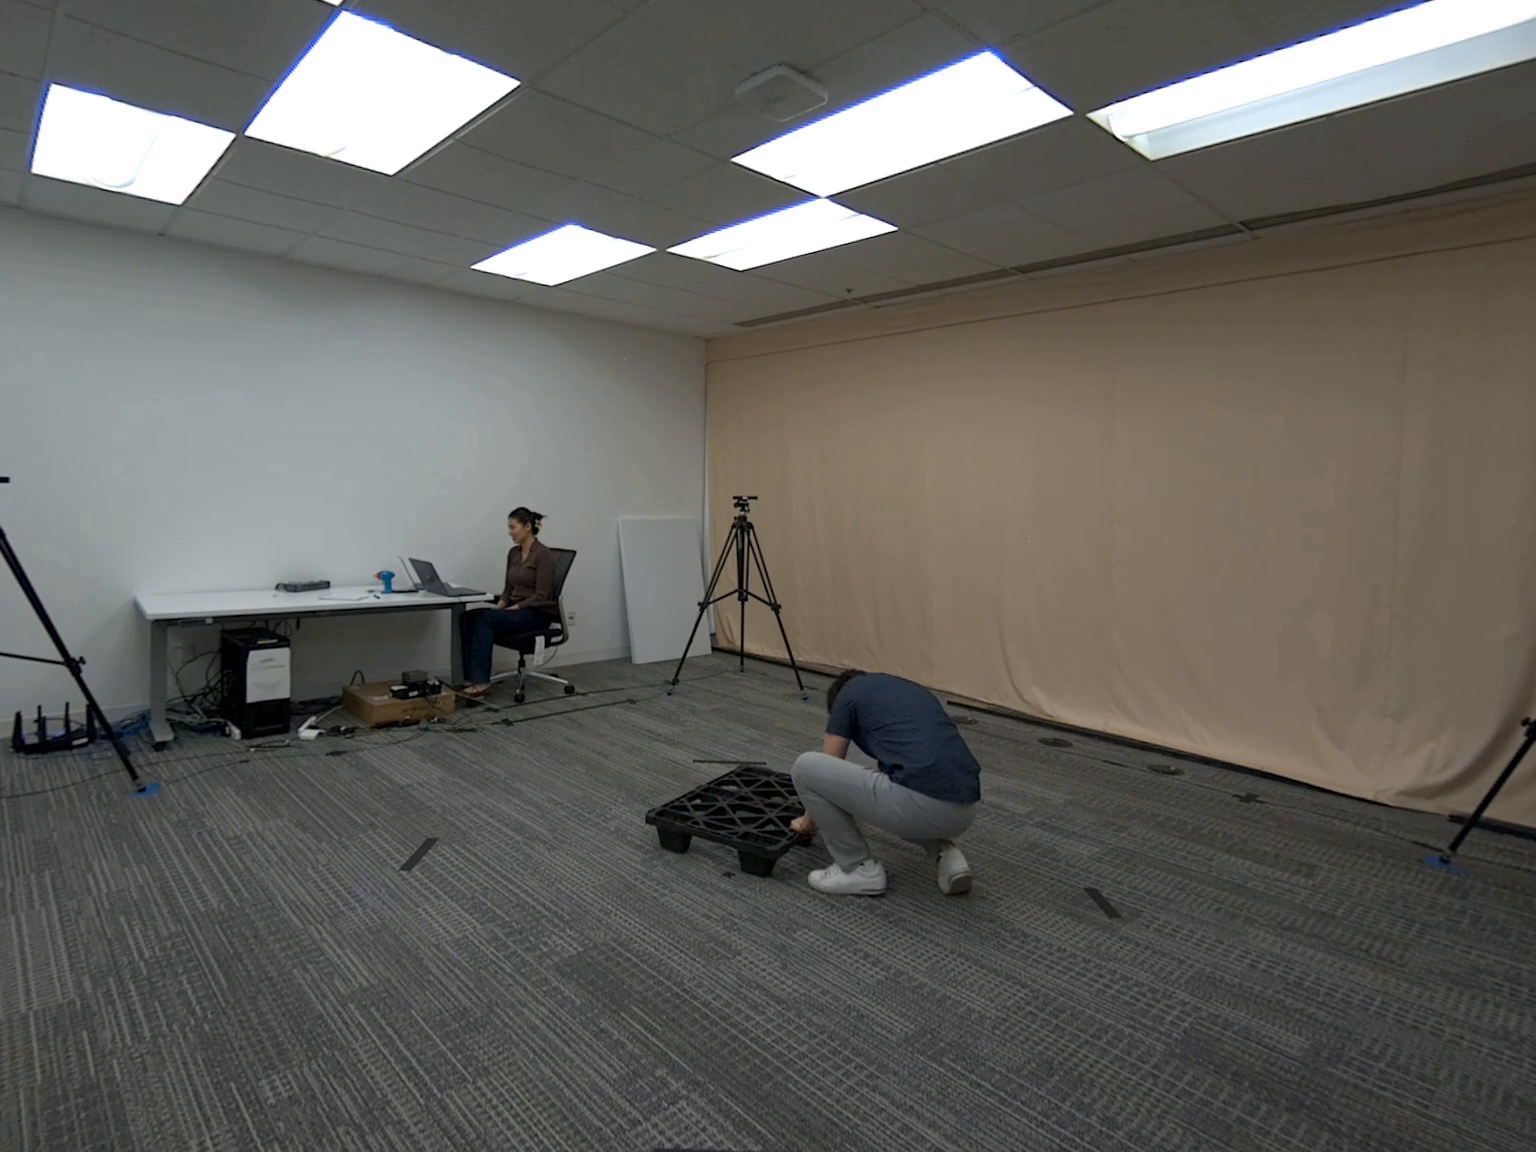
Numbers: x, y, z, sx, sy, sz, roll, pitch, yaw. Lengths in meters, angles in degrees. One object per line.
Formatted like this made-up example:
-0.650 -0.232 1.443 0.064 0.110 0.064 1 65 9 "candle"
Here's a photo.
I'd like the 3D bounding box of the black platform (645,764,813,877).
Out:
-0.058 1.001 3.512 0.618 0.143 0.790 4 5 29 "black platform"
